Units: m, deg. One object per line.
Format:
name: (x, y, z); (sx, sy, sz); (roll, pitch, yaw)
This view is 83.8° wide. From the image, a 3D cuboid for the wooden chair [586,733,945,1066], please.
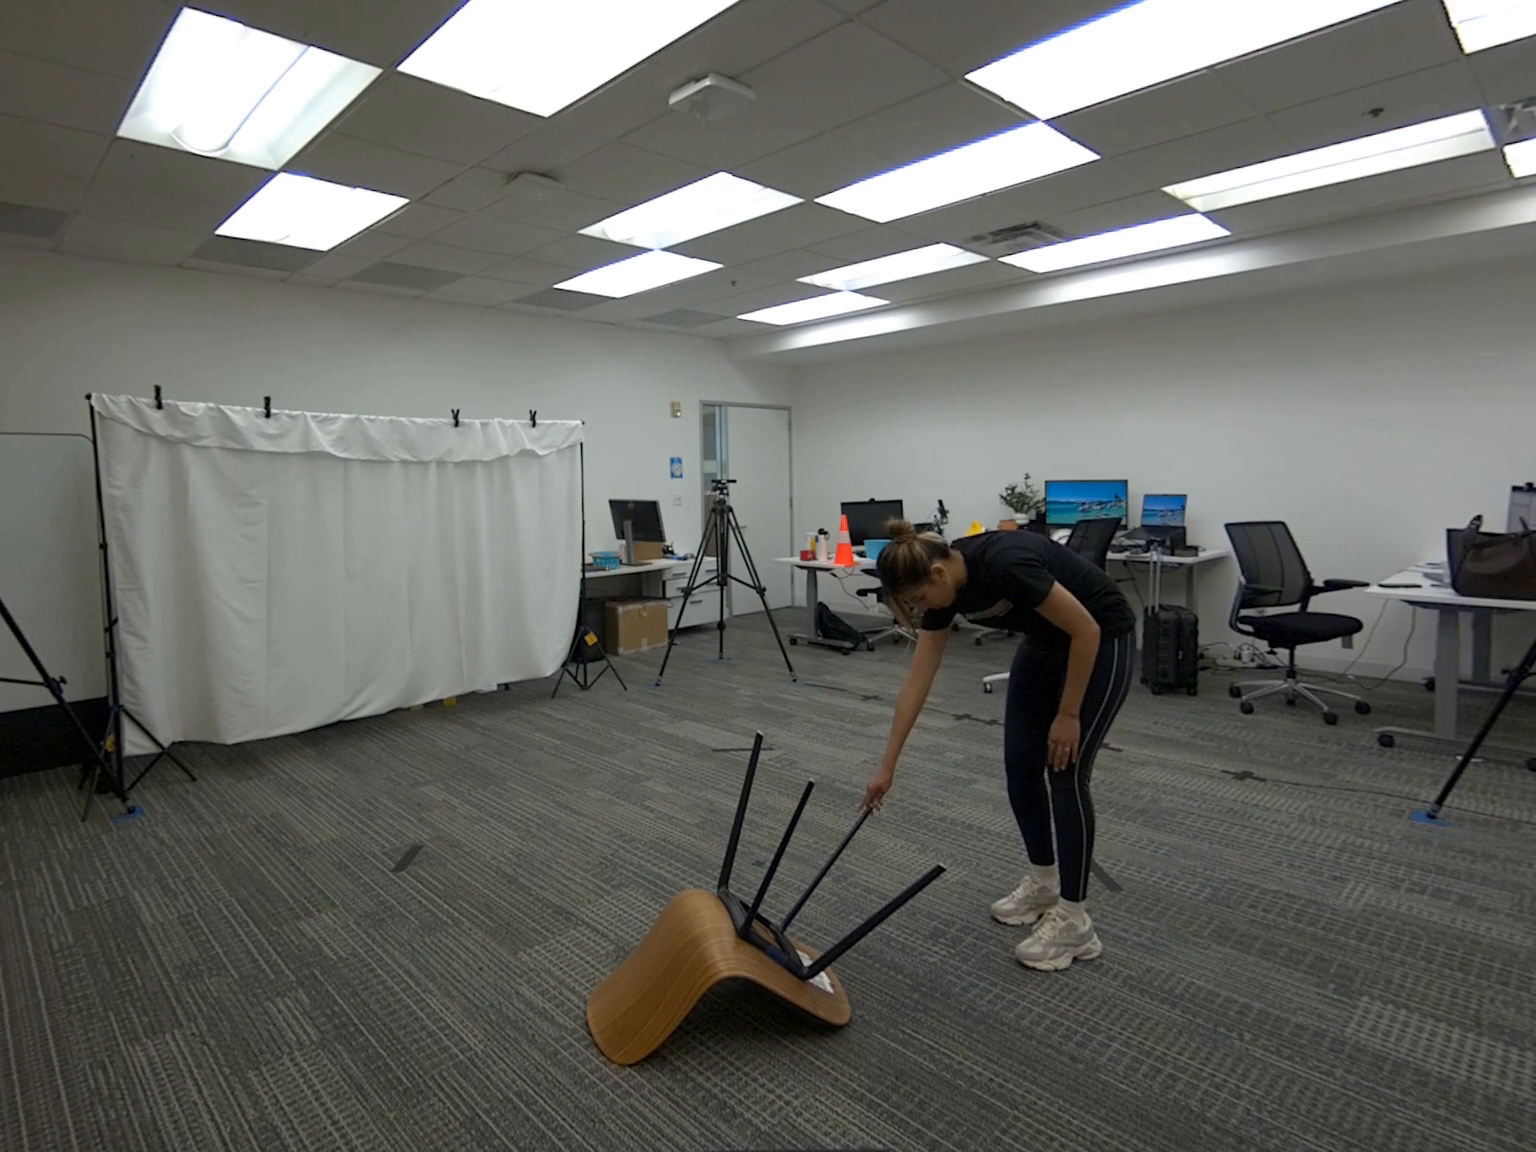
wooden chair: (-0.005, 0.967, 2.314); (0.513, 0.878, 0.487); (38, -7, -16)
